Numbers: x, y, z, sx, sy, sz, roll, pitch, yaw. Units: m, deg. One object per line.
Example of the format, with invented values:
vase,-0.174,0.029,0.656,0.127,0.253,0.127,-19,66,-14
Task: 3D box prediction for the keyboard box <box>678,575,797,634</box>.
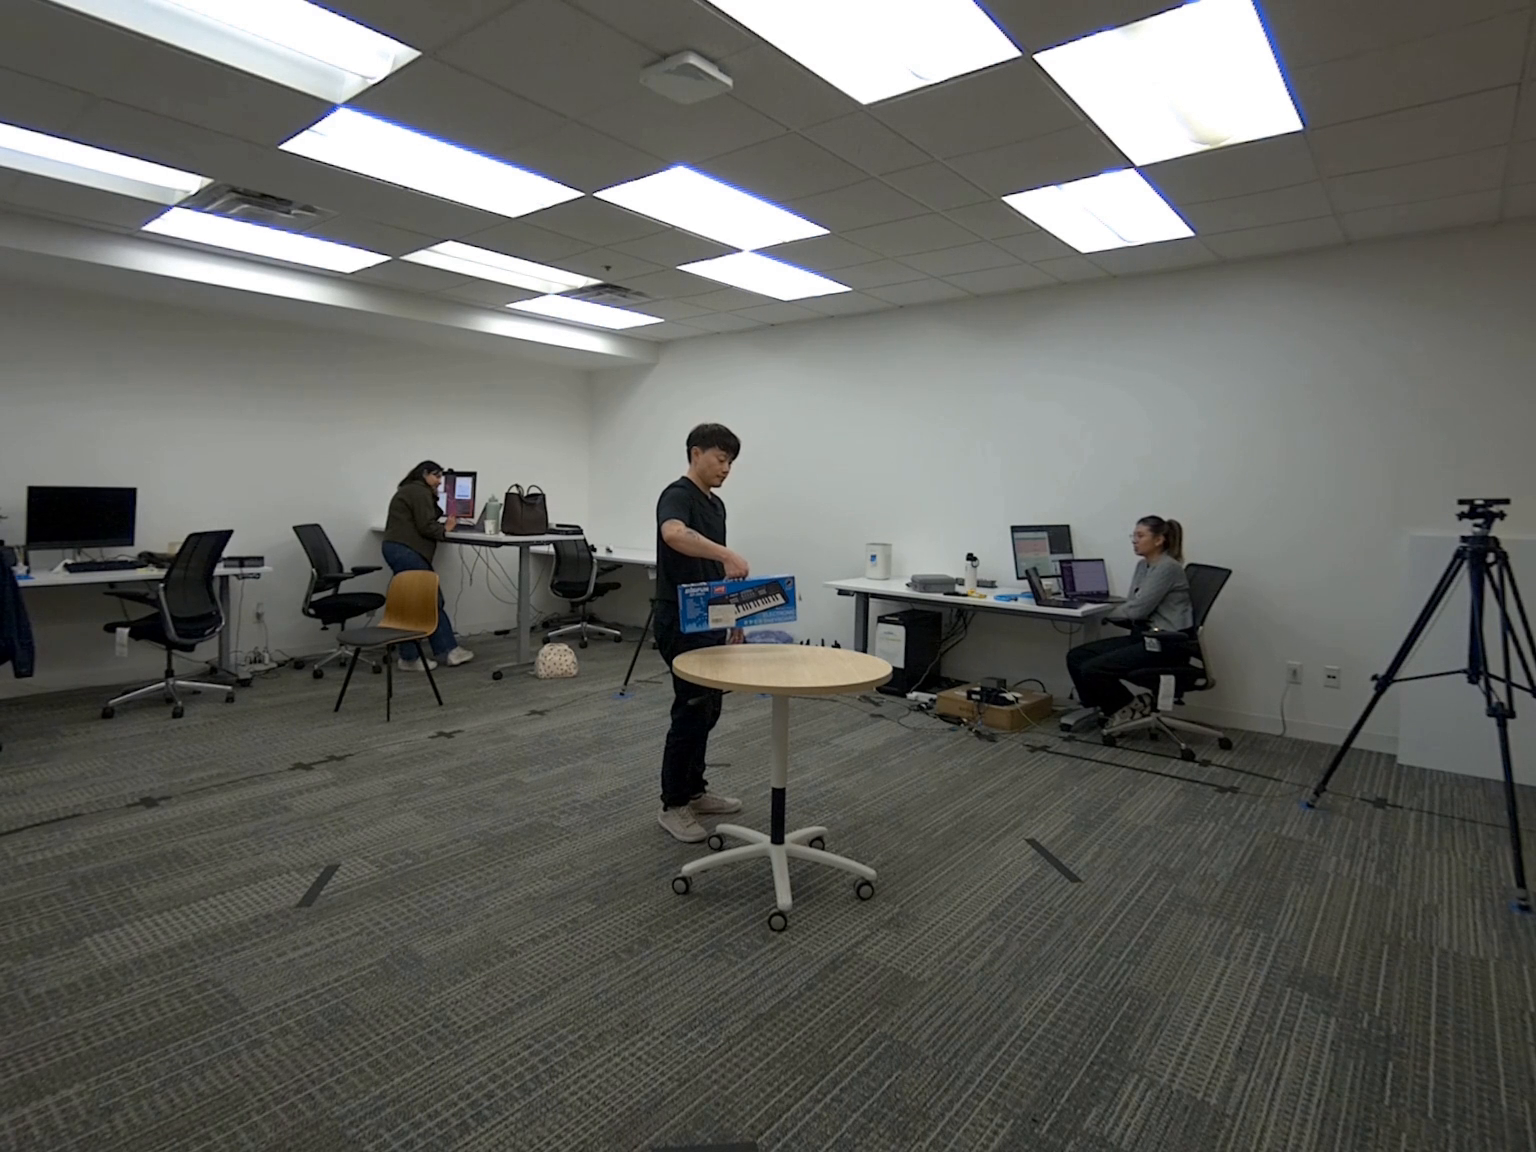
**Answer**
keyboard box,-0.117,0.098,3.146,0.430,0.175,0.060,-6,5,-15
